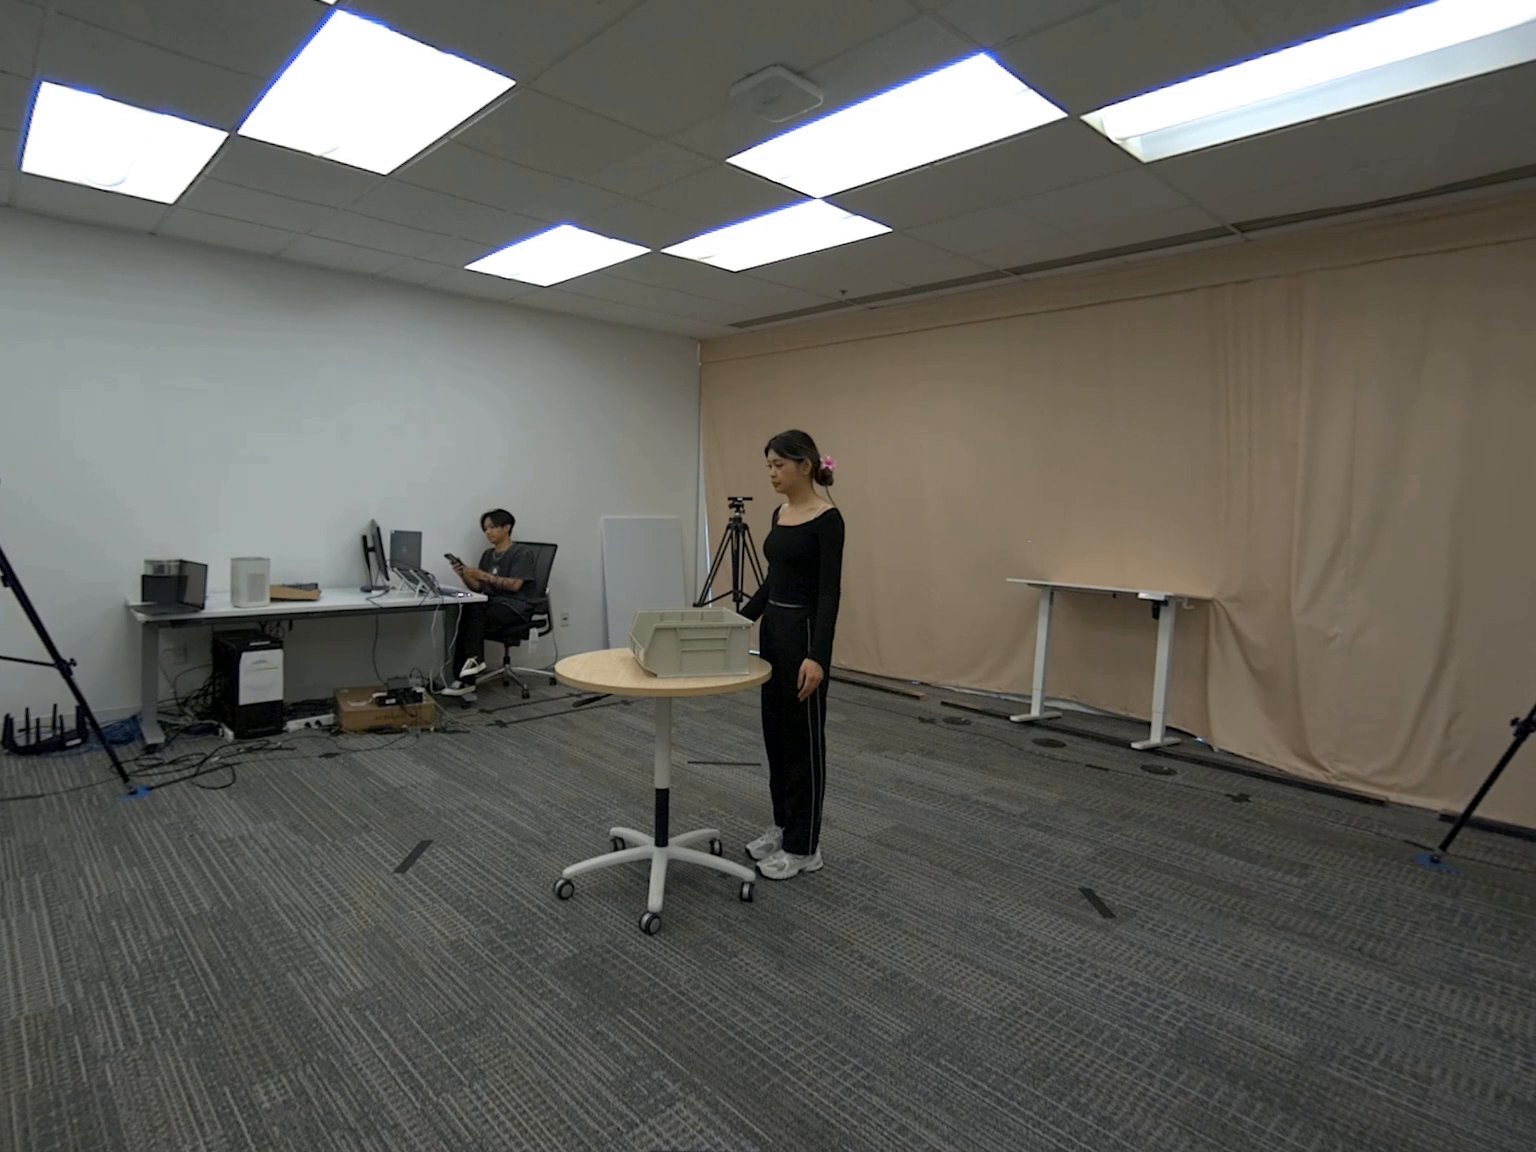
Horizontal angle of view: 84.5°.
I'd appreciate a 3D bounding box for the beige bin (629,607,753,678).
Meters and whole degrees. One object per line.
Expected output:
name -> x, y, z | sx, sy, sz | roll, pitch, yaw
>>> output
beige bin -> -0.291, 0.232, 2.992 | 0.373, 0.188, 0.428 | 1, 4, -16
